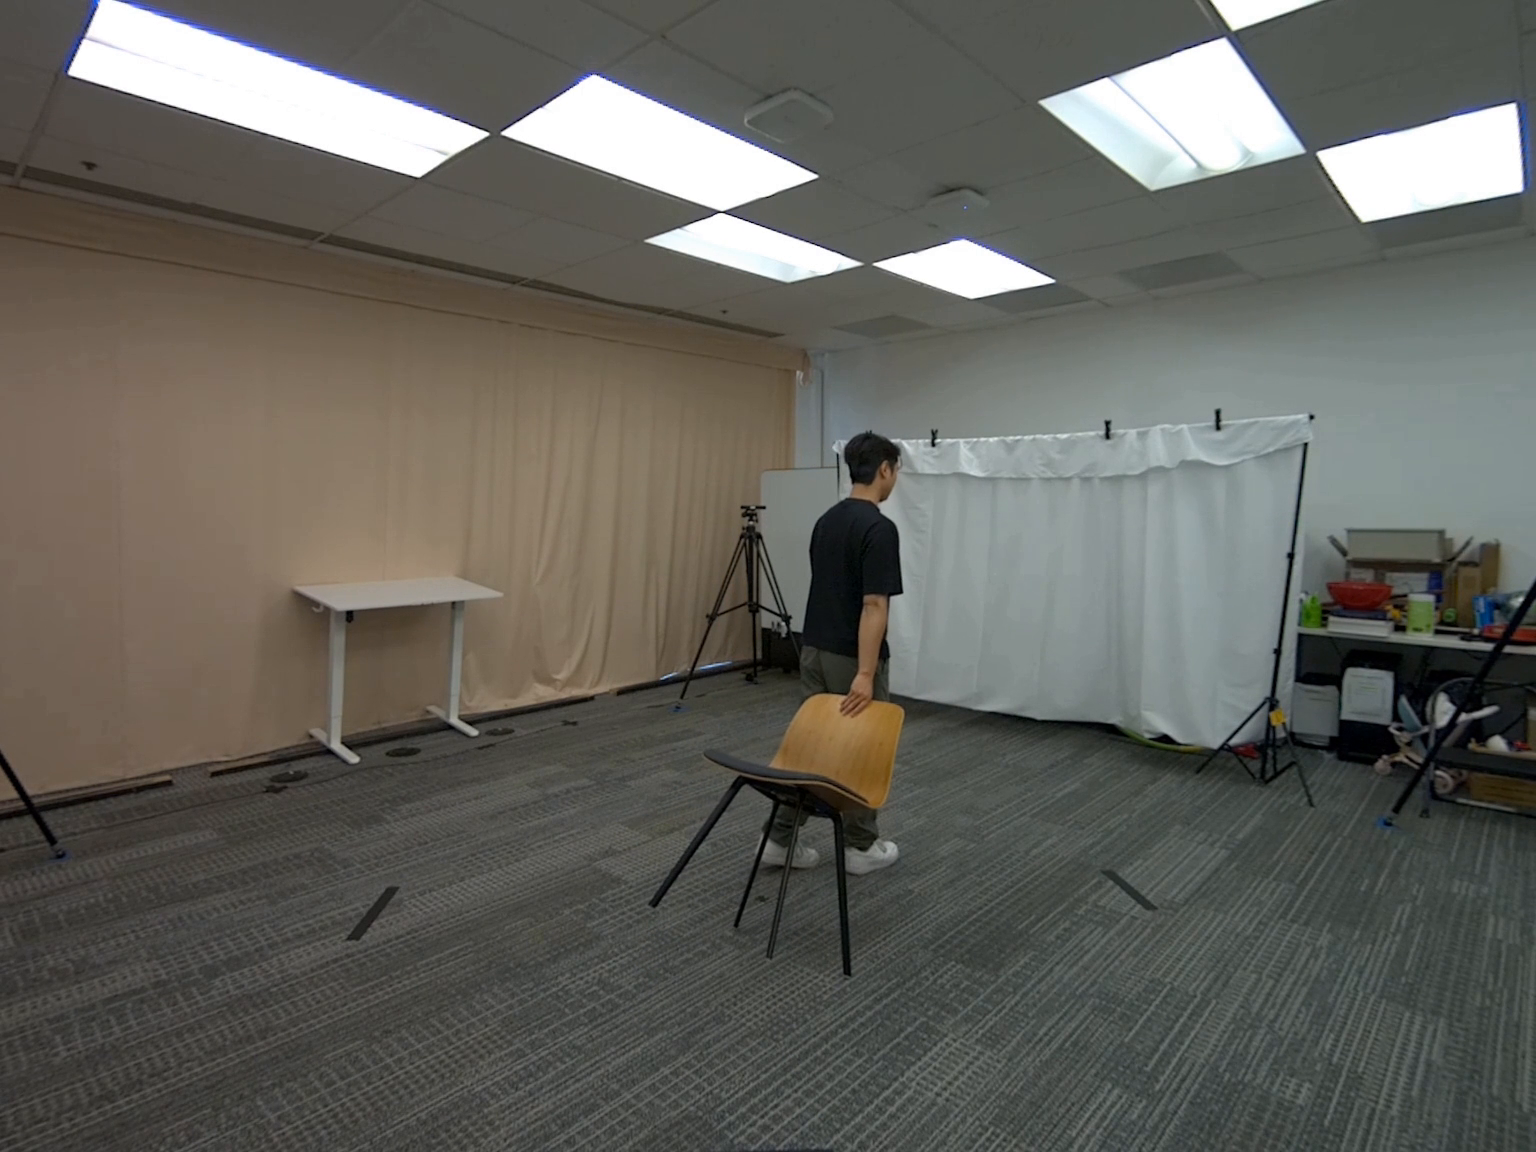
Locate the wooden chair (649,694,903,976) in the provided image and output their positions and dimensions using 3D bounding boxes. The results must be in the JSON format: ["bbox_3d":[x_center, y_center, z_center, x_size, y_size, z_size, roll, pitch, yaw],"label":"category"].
[{"bbox_3d":[0.074,0.684,2.604,0.494,0.880,0.504,3,-28,40],"label":"wooden chair"}]
